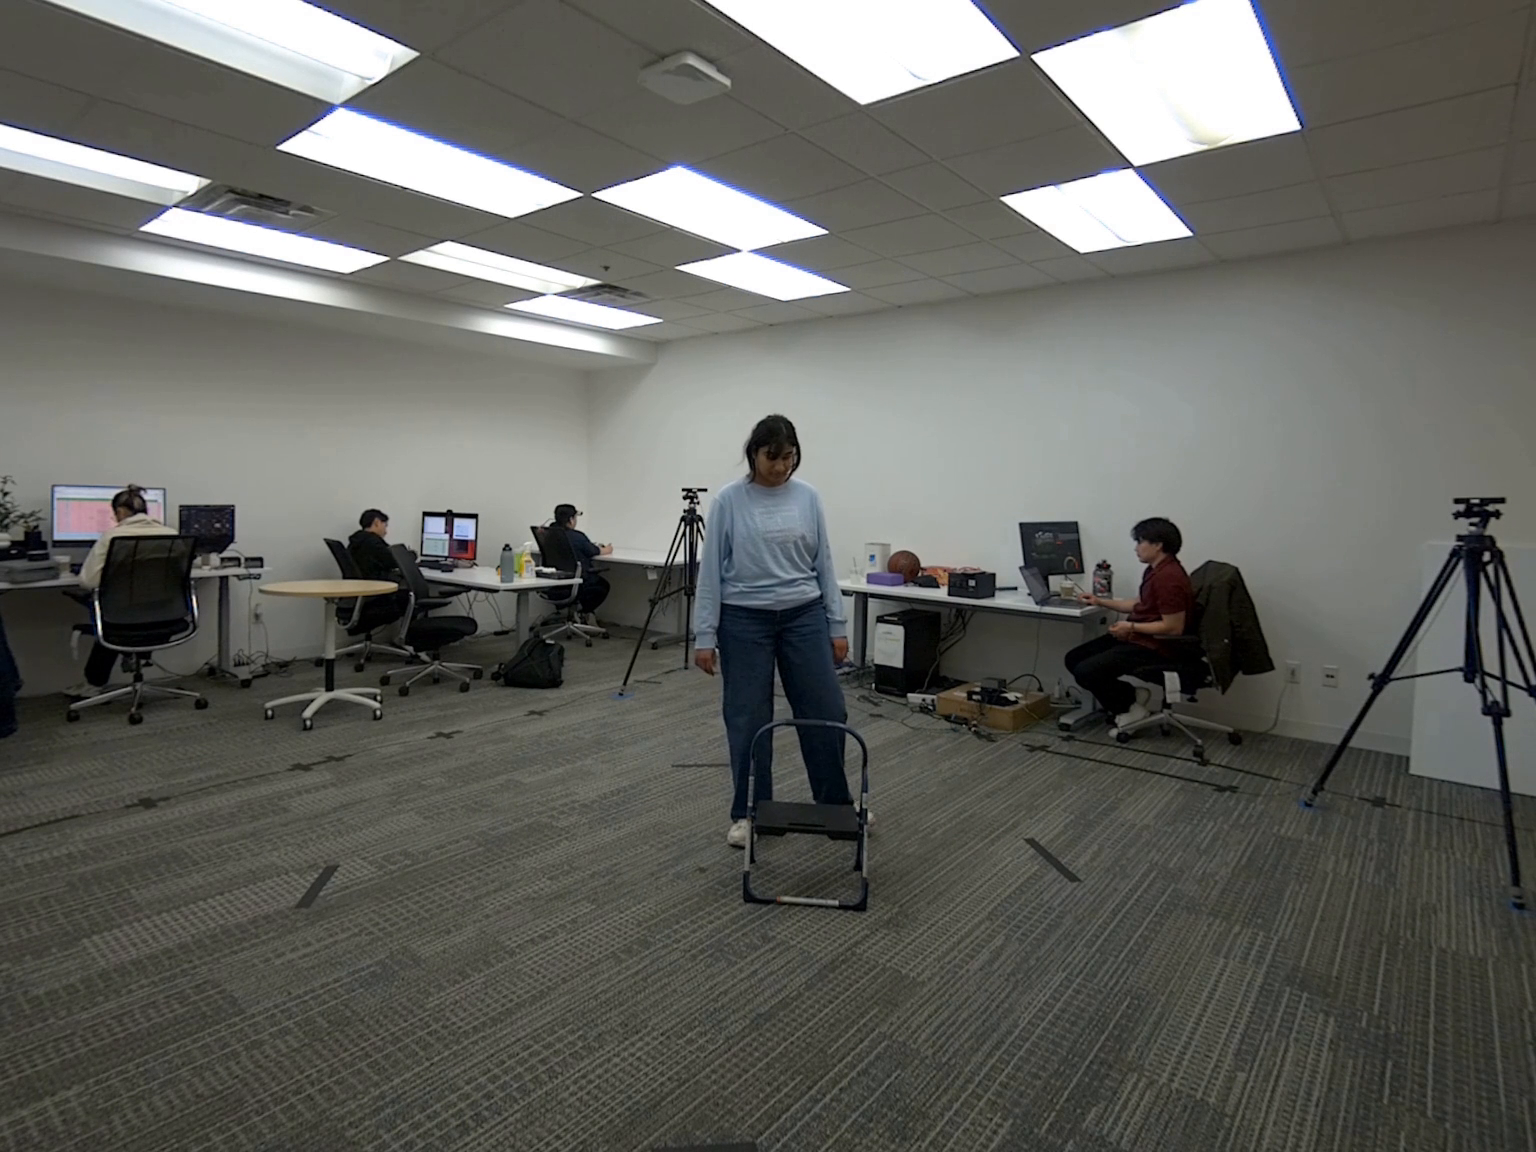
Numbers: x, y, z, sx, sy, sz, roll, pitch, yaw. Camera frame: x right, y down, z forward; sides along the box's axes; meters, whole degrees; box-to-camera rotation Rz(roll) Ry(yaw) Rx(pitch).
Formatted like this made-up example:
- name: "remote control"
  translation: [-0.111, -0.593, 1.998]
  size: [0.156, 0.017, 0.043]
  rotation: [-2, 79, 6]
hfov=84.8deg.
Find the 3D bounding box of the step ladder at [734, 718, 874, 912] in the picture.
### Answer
- name: "step ladder"
  translation: [0.132, 0.786, 2.995]
  size: [0.433, 0.605, 0.348]
  rotation: [1, 3, 4]
